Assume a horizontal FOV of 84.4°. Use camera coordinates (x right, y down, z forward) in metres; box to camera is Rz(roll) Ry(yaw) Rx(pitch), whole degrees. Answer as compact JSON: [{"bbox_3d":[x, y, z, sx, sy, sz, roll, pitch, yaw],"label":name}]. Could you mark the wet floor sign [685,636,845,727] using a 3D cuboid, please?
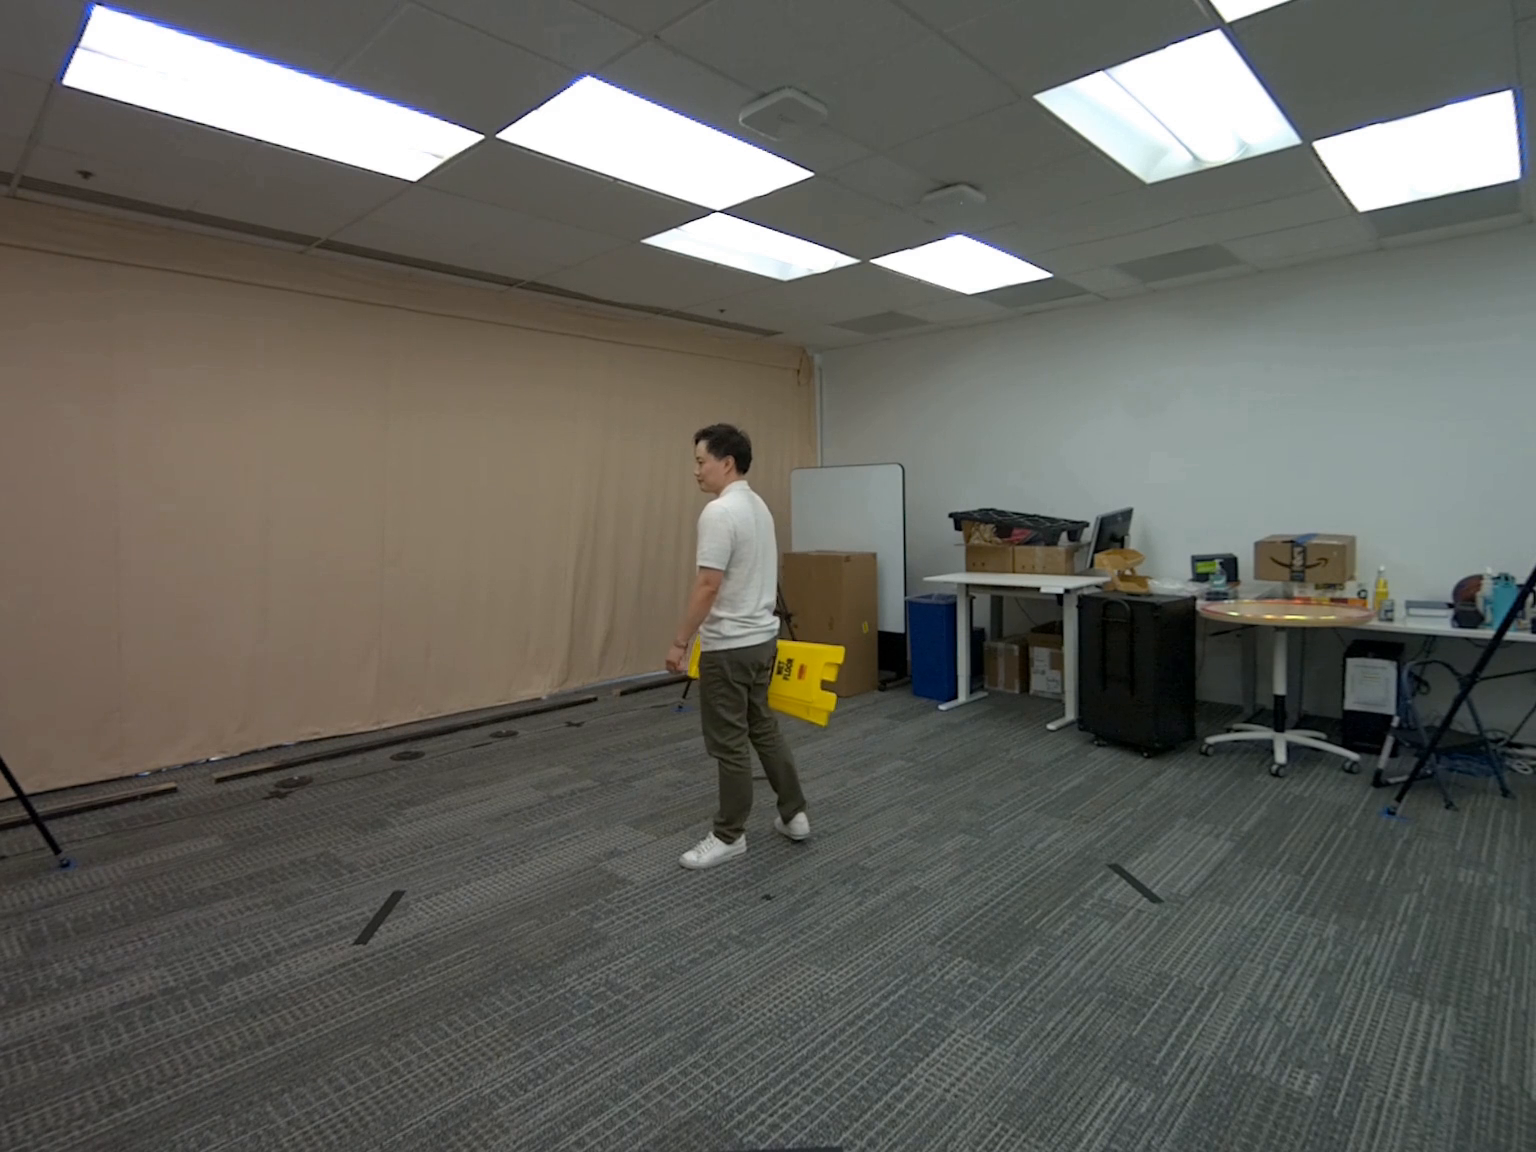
[{"bbox_3d":[-0.016,0.418,3.678,0.651,0.284,0.285,12,-21,6],"label":"wet floor sign"}]
